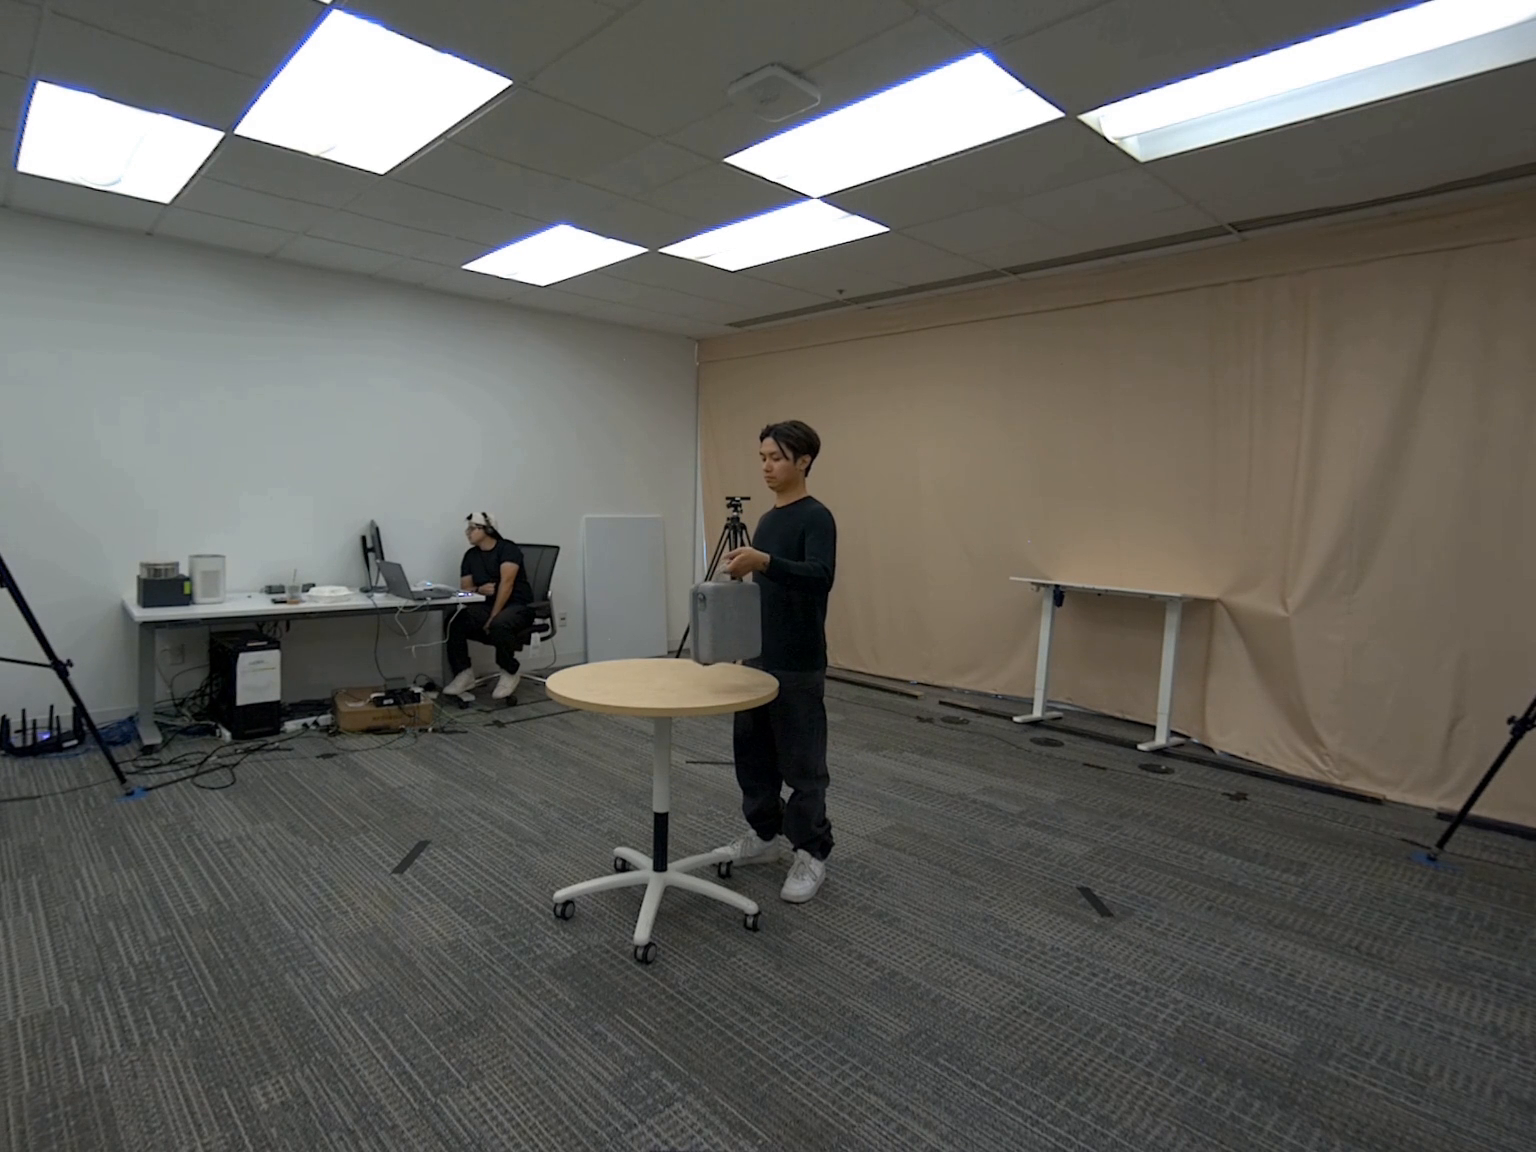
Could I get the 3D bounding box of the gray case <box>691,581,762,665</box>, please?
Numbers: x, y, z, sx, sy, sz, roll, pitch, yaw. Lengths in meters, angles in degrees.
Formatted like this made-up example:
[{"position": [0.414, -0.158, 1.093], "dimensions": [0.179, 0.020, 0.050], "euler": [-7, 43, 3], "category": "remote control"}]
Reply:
[{"position": [-0.133, 0.145, 2.674], "dimensions": [0.106, 0.261, 0.251], "euler": [-5, -2, 38], "category": "gray case"}]
